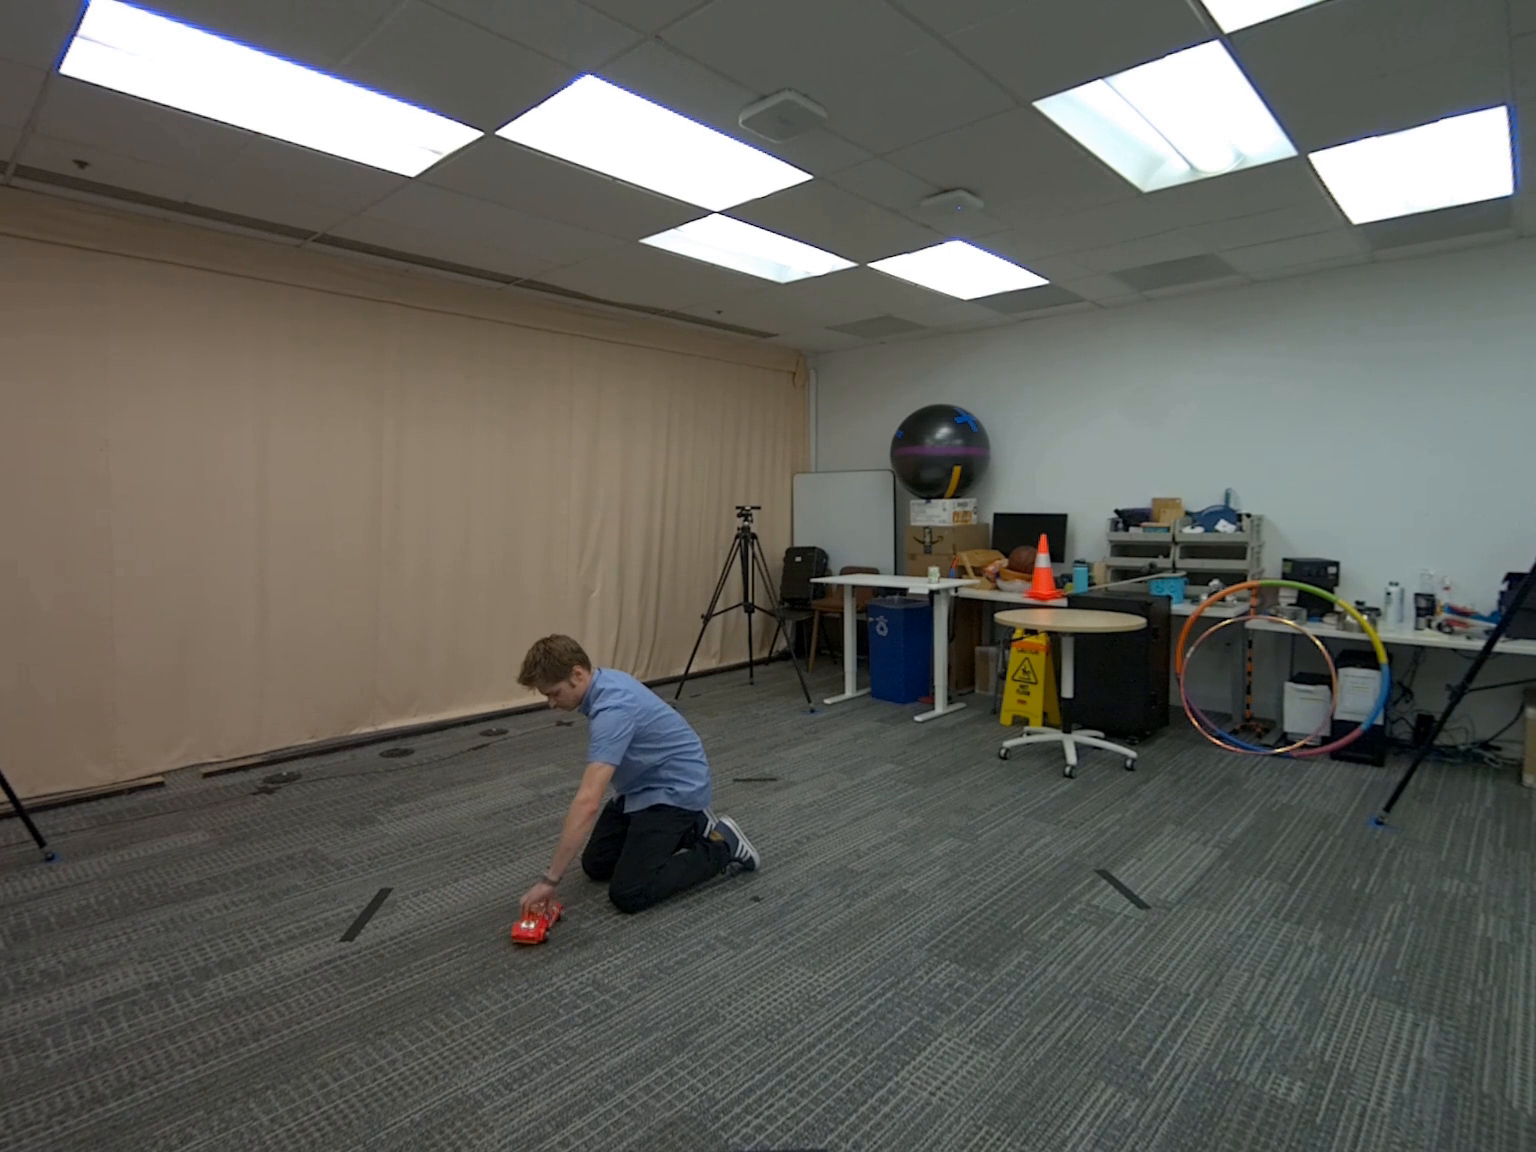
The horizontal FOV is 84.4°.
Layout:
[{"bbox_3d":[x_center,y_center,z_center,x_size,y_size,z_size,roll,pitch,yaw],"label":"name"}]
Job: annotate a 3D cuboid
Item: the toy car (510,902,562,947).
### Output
[{"bbox_3d":[-0.765,1.137,2.757,0.131,0.083,0.252,0,-8,4],"label":"toy car"}]
